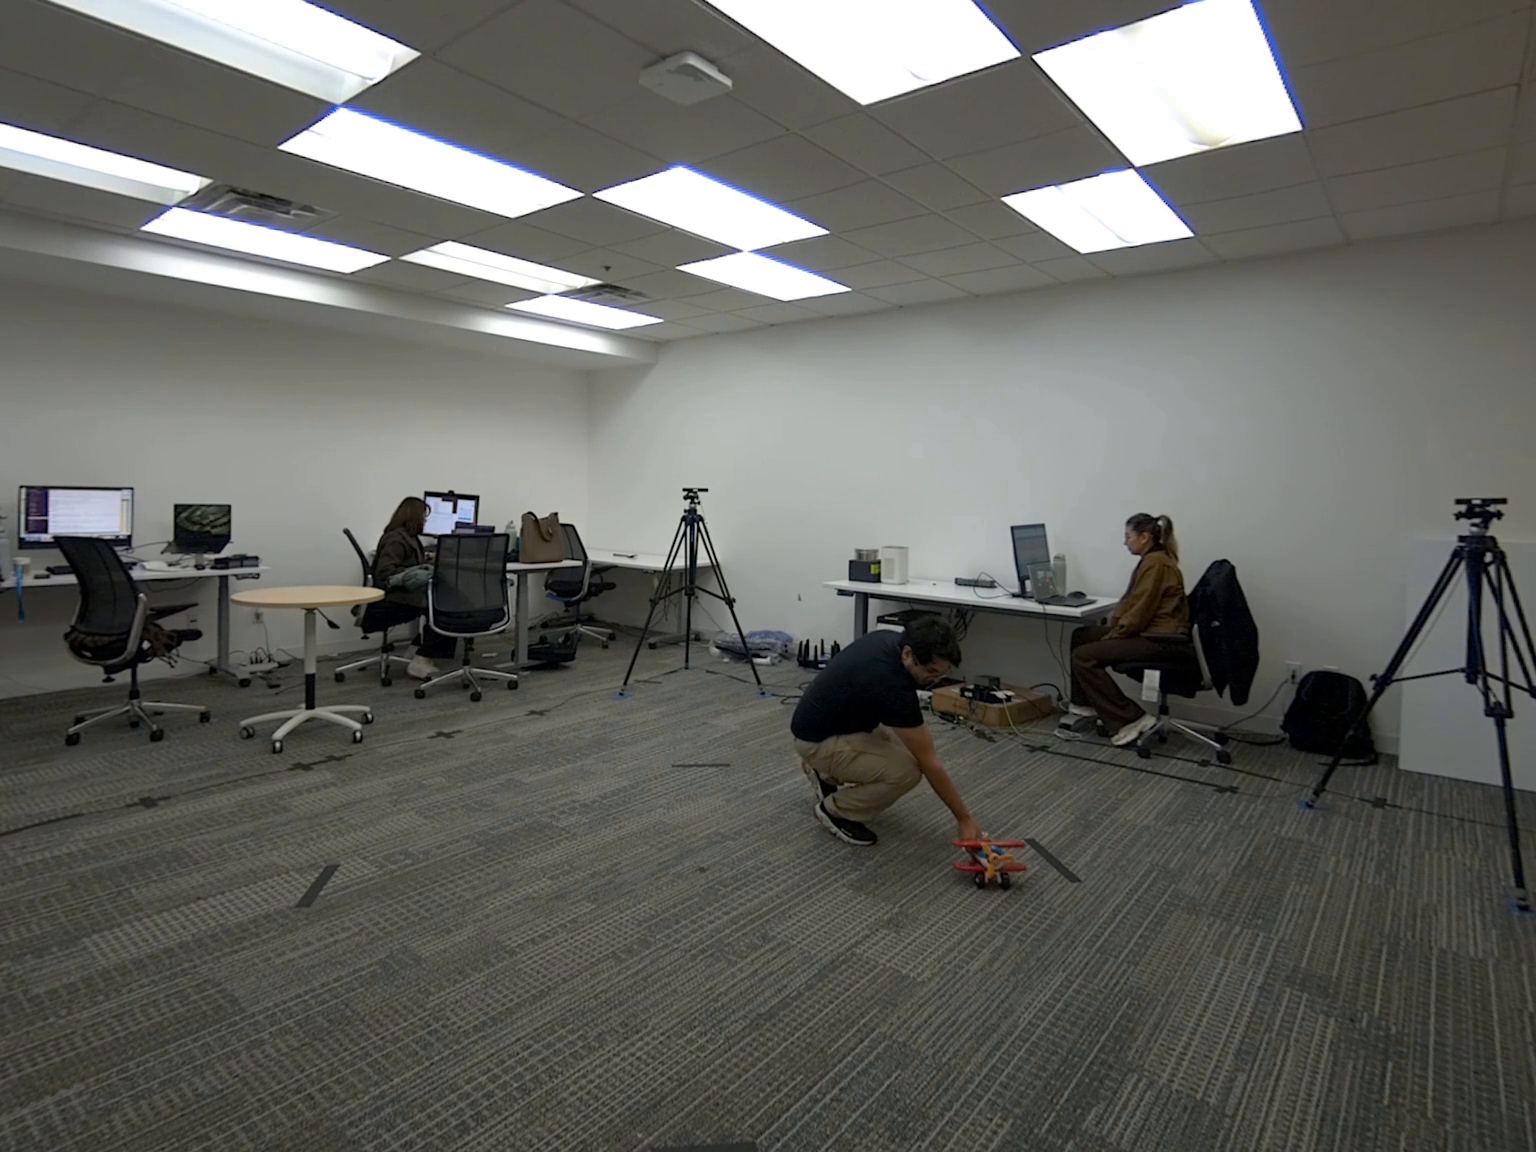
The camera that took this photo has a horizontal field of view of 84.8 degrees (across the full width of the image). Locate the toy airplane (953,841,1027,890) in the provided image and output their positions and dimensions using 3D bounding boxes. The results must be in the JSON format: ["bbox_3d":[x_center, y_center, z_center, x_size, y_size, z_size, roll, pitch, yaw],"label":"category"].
[{"bbox_3d":[0.774,1.018,3.108,0.245,0.156,0.266,-4,7,-26],"label":"toy airplane"}]
